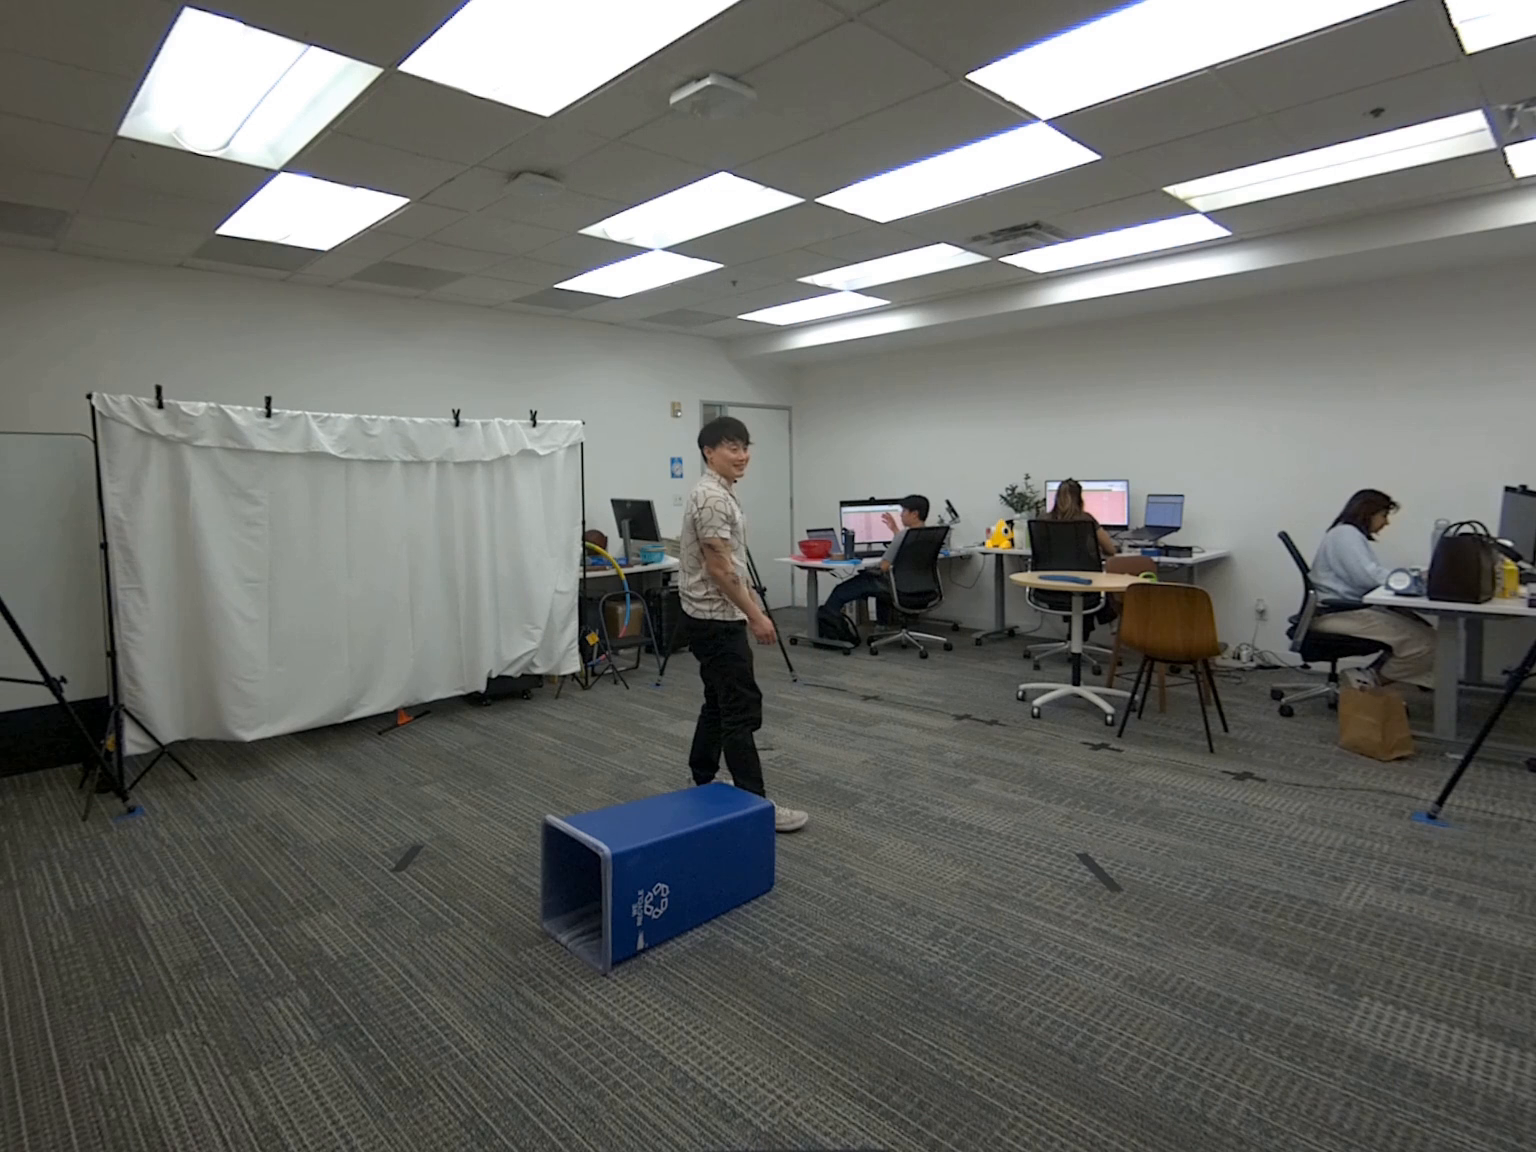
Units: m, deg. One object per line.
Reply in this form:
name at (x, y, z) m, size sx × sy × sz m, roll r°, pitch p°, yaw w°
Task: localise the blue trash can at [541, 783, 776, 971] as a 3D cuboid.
blue trash can at (-0.328, 0.917, 2.777) m, size 0.694 × 0.377 × 0.385 m, roll -4°, pitch 6°, yaw -42°
